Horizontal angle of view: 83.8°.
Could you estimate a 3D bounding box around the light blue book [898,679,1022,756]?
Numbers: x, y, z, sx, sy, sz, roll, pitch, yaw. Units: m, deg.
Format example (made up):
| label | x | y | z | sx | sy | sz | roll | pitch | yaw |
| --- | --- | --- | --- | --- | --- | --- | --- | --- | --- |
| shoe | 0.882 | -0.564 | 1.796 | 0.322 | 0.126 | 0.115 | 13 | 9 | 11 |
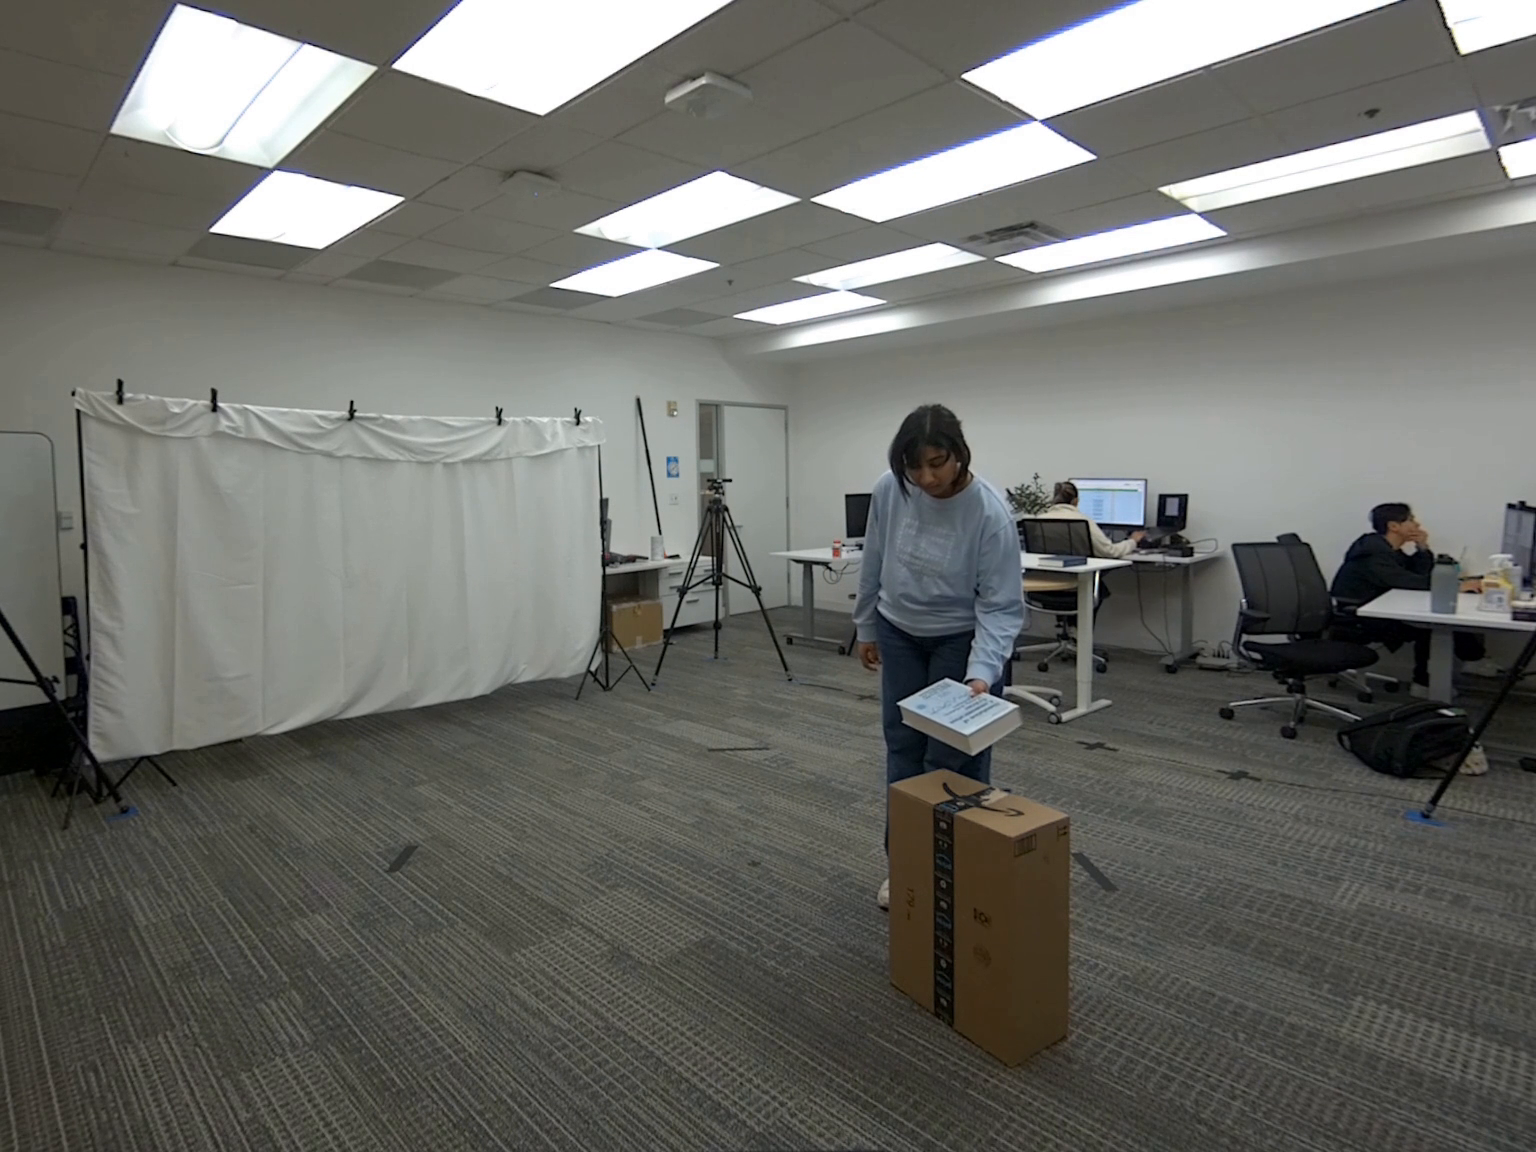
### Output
| label | x | y | z | sx | sy | sz | roll | pitch | yaw |
| --- | --- | --- | --- | --- | --- | --- | --- | --- | --- |
| light blue book | 0.505 | 0.367 | 2.258 | 0.189 | 0.058 | 0.269 | -22 | 20 | -26 |
